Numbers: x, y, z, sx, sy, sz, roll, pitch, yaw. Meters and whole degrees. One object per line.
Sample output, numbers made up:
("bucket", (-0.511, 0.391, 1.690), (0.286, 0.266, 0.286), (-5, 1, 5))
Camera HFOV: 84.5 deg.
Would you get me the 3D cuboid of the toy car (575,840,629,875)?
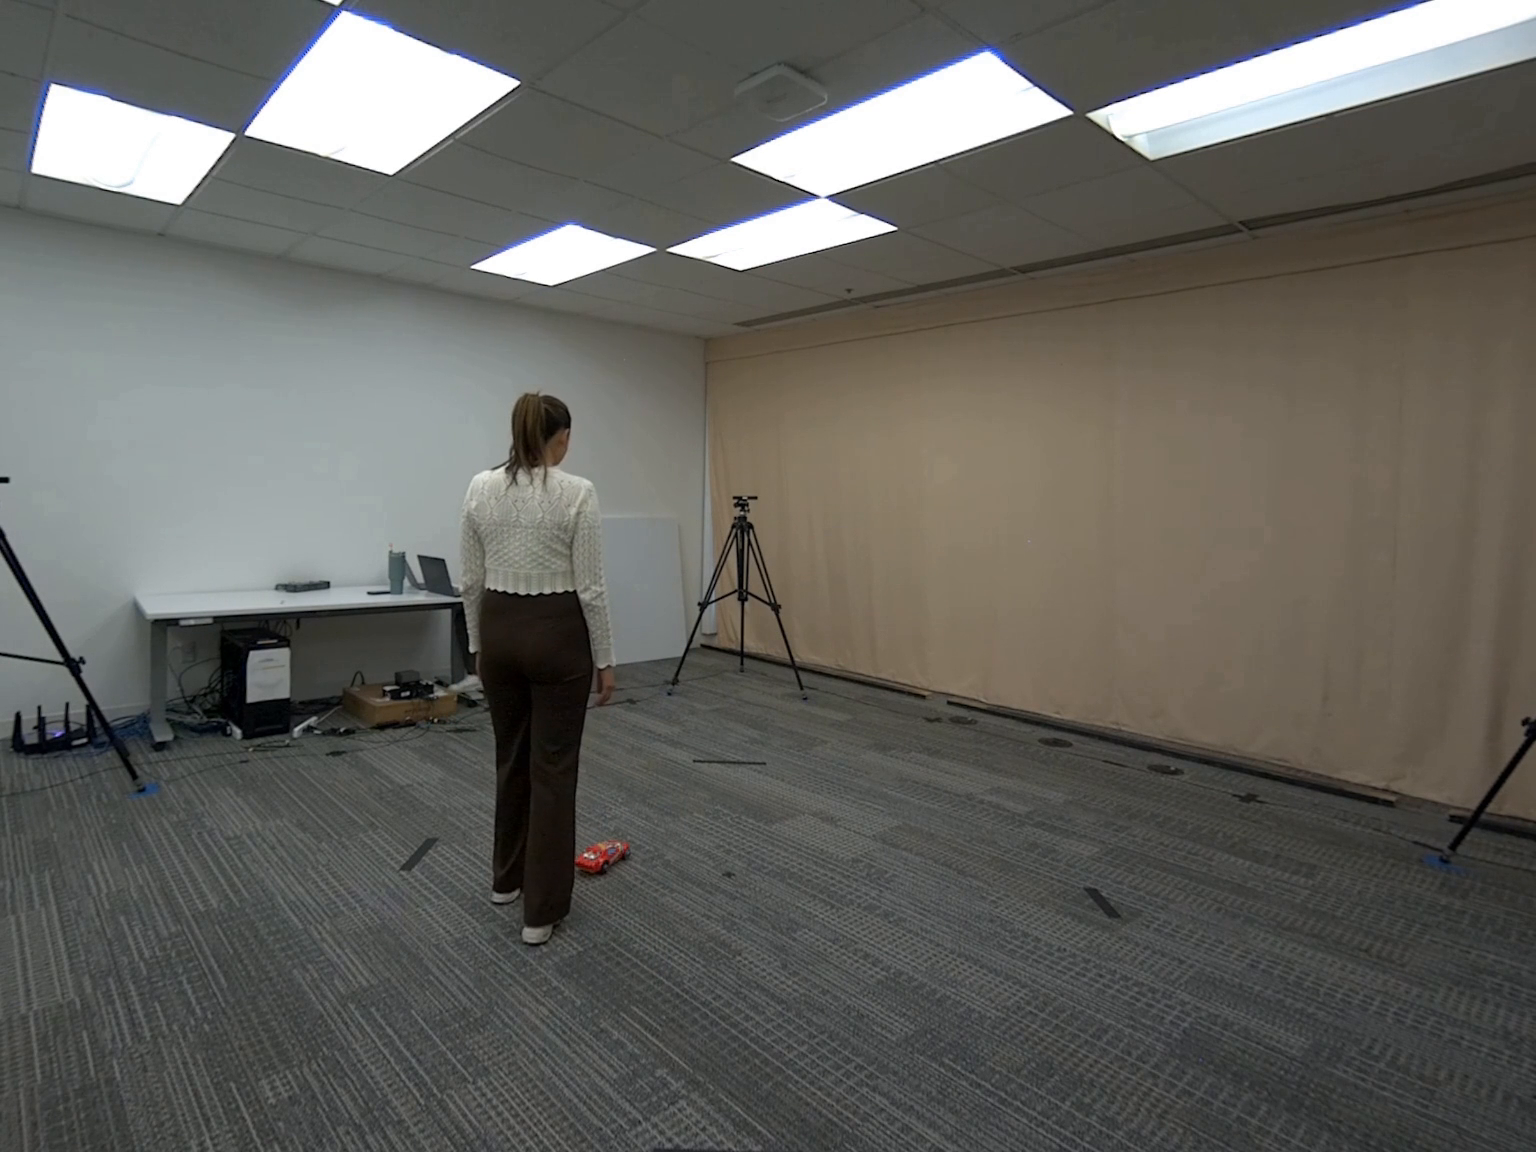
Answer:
("toy car", (-0.633, 1.056, 3.154), (0.133, 0.083, 0.248), (4, -6, 26))
